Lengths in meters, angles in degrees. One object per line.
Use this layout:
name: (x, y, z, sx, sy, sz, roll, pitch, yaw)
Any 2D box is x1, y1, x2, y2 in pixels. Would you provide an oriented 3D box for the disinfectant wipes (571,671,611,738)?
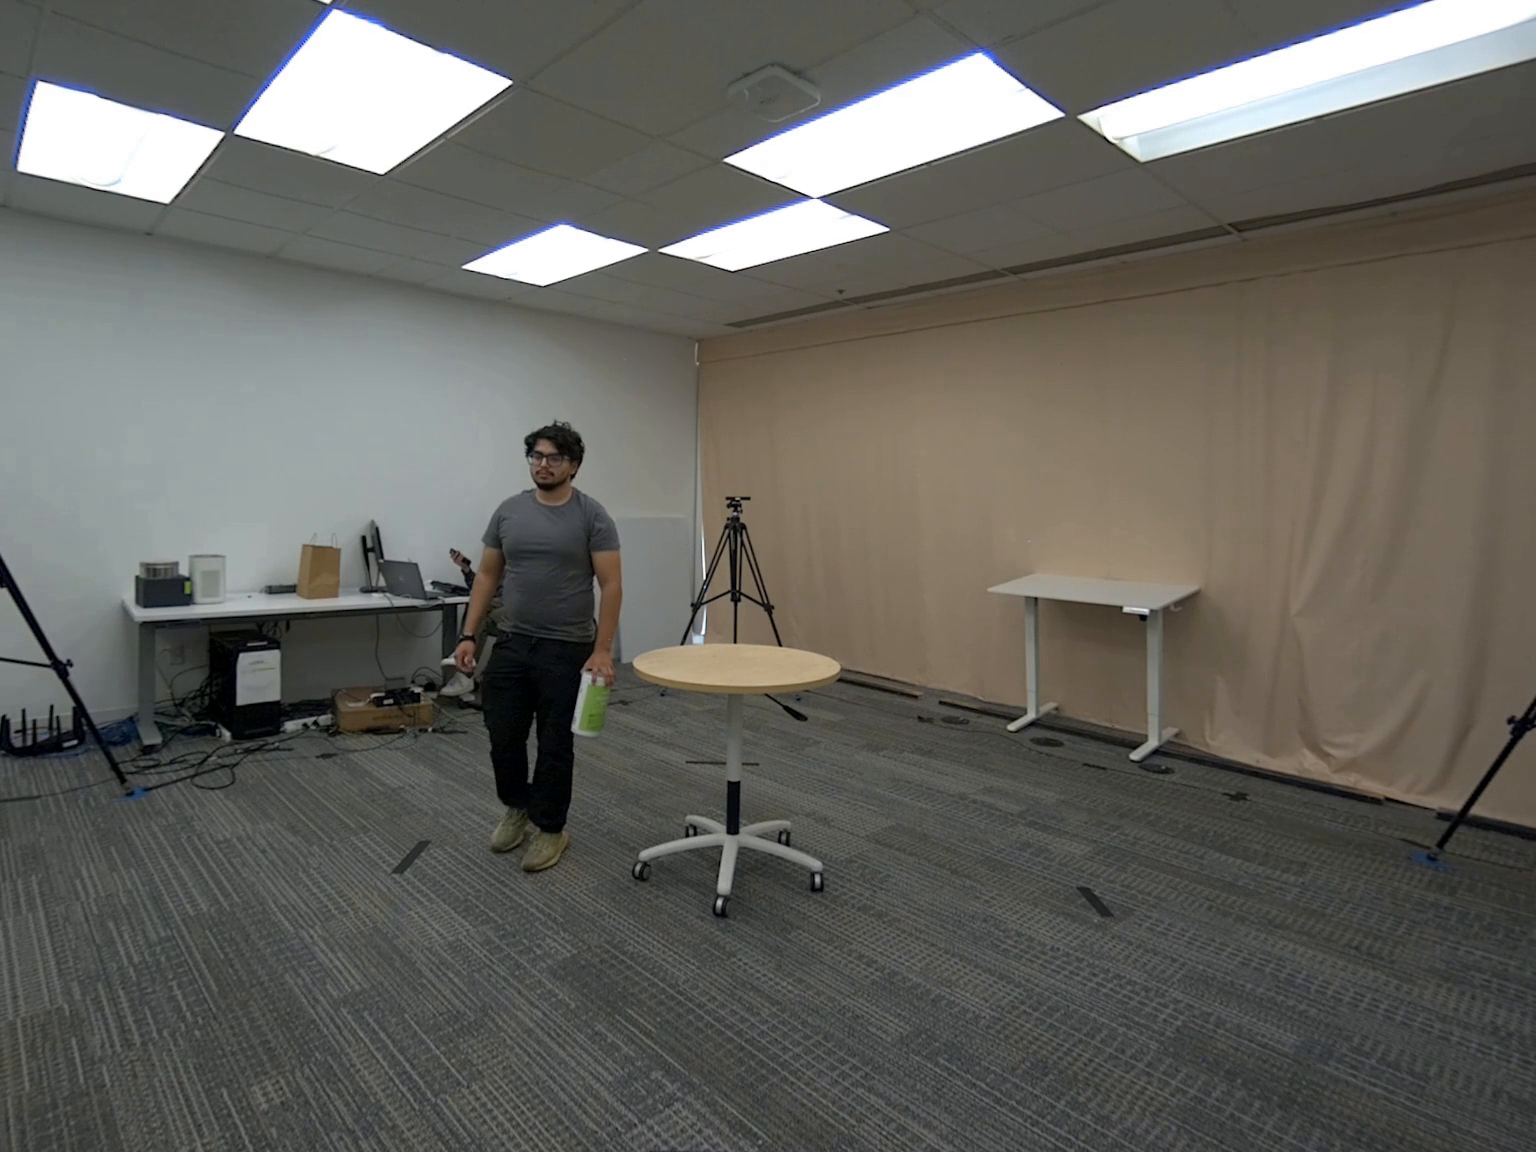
disinfectant wipes: (-0.629, 0.458, 3.006, 0.118, 0.217, 0.118, 12, 1, -2)
